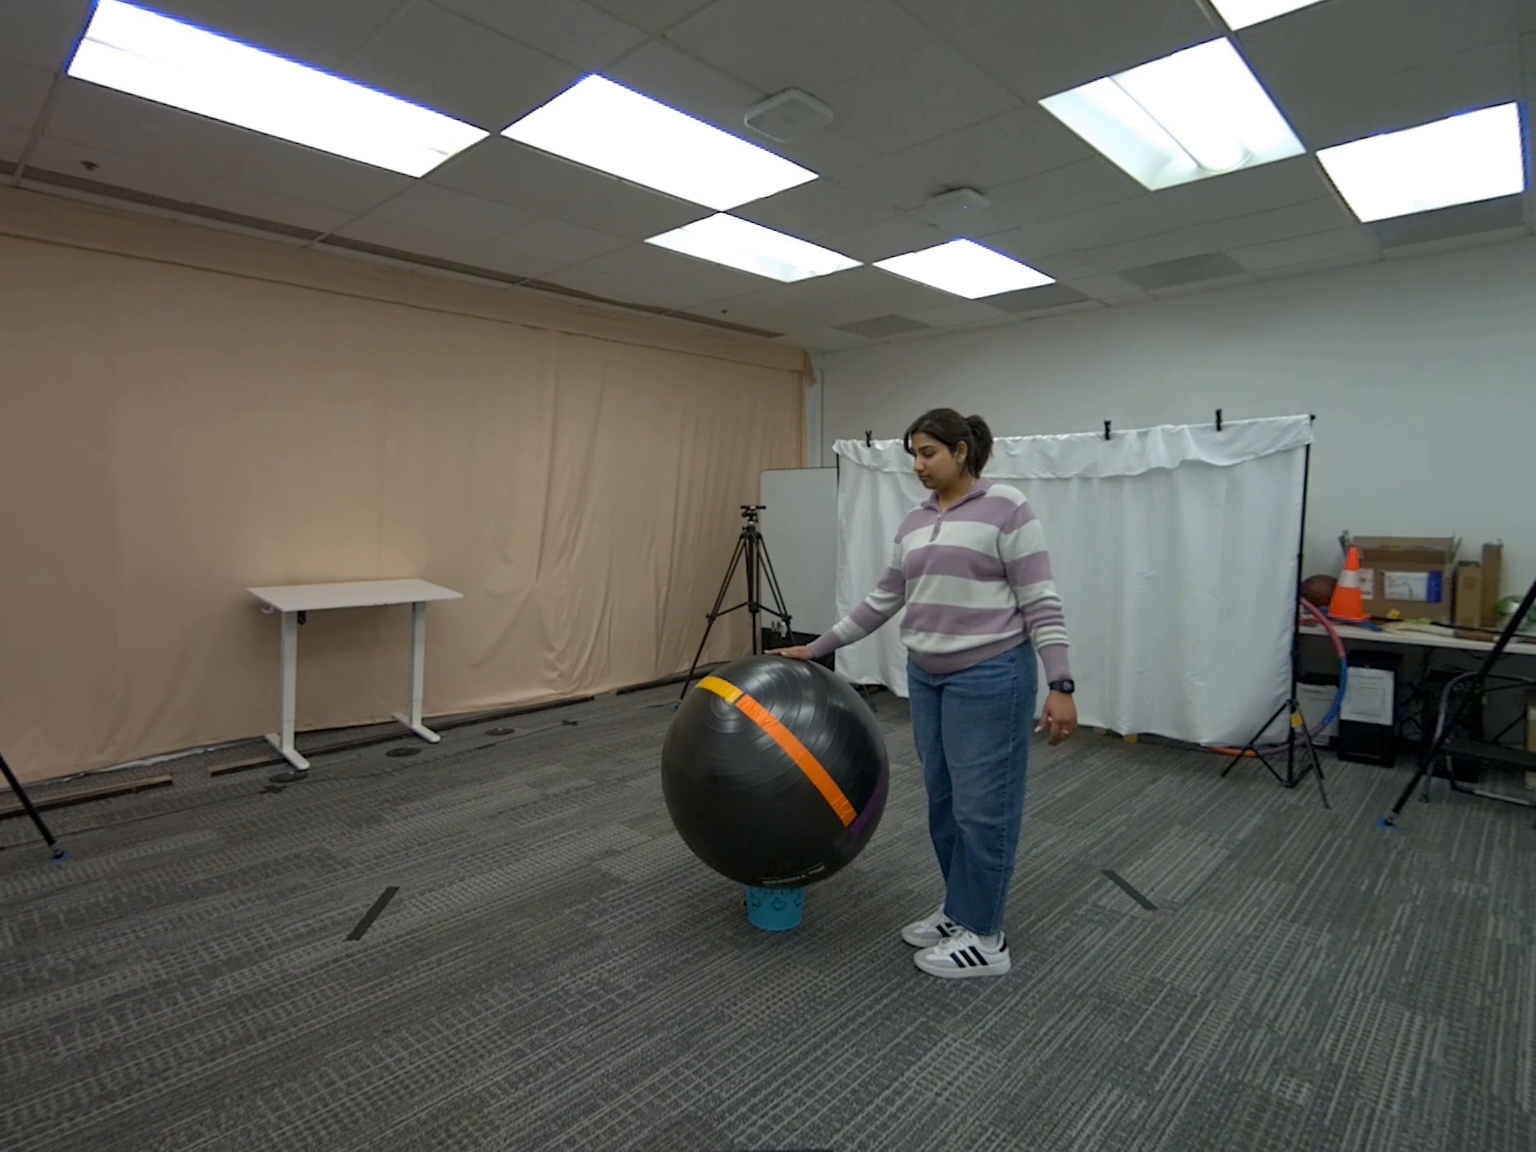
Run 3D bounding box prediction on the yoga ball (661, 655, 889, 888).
[{"bbox_3d":[0.022,0.647,2.830,0.757,0.756,0.760,0,4,-2],"label":"yoga ball"}]
